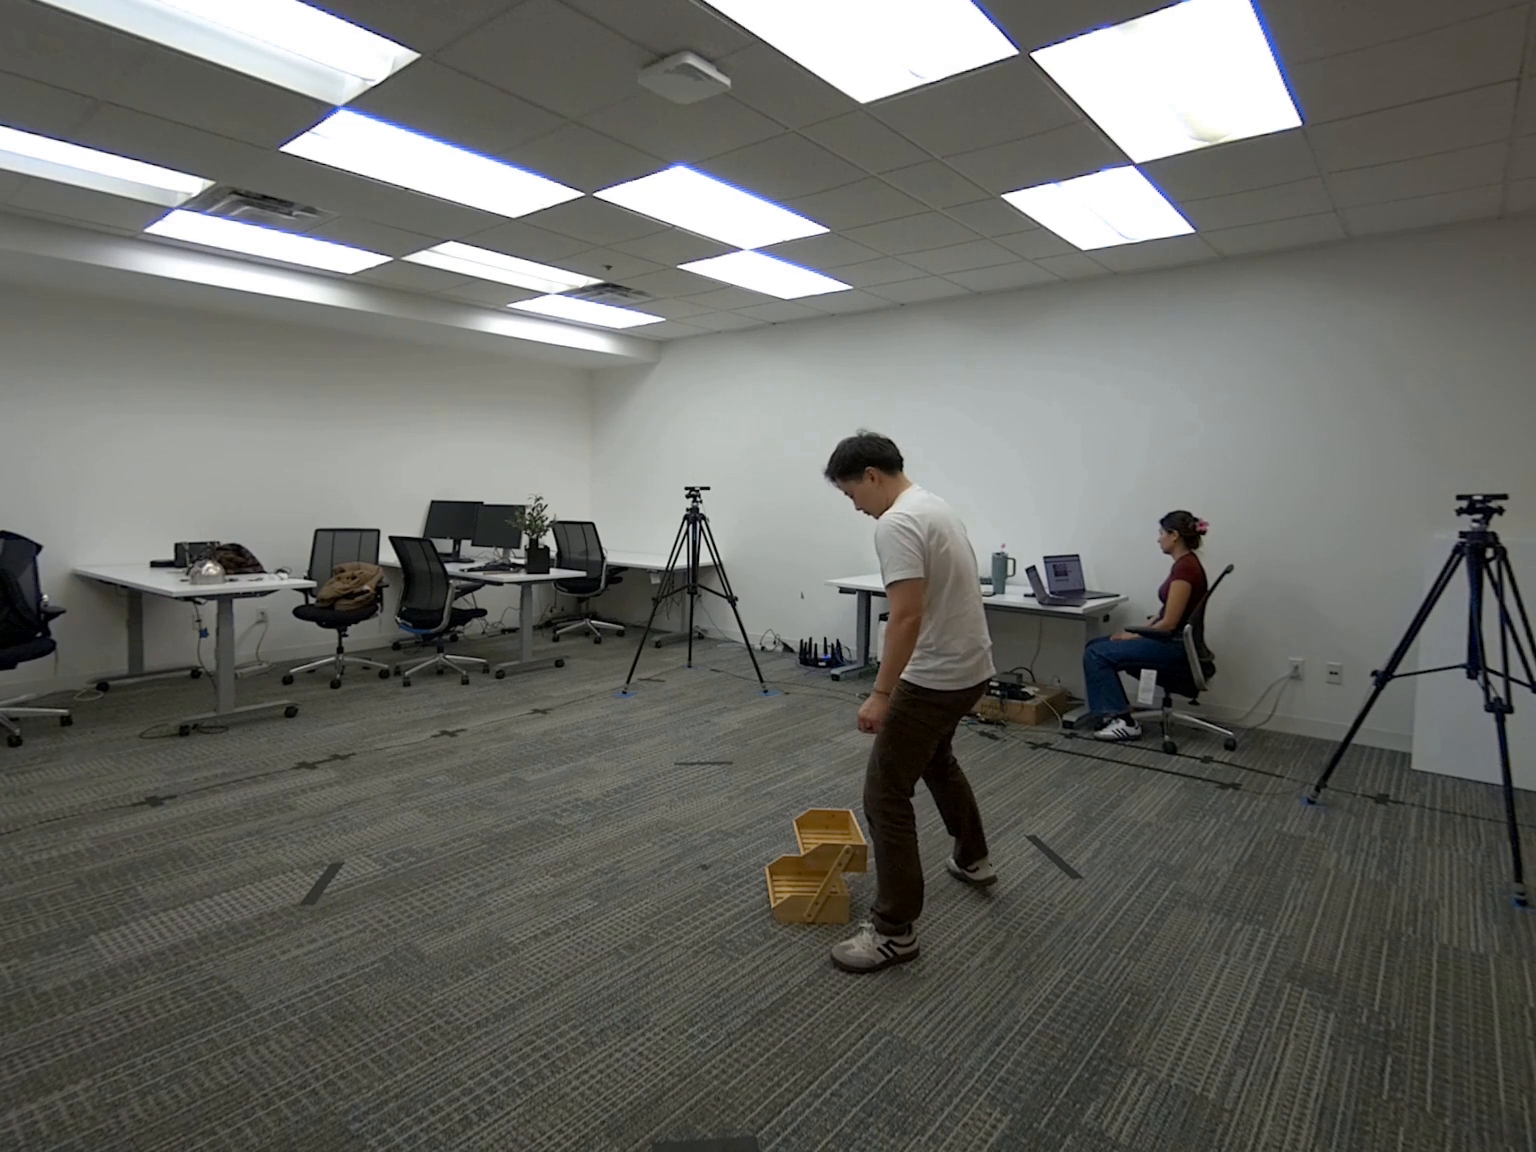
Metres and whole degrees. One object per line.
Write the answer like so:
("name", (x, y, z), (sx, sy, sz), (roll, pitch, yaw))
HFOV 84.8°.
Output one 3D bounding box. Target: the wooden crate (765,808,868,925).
("wooden crate", (0.147, 0.960, 2.867), (0.301, 0.272, 0.326), (2, 4, -3))
